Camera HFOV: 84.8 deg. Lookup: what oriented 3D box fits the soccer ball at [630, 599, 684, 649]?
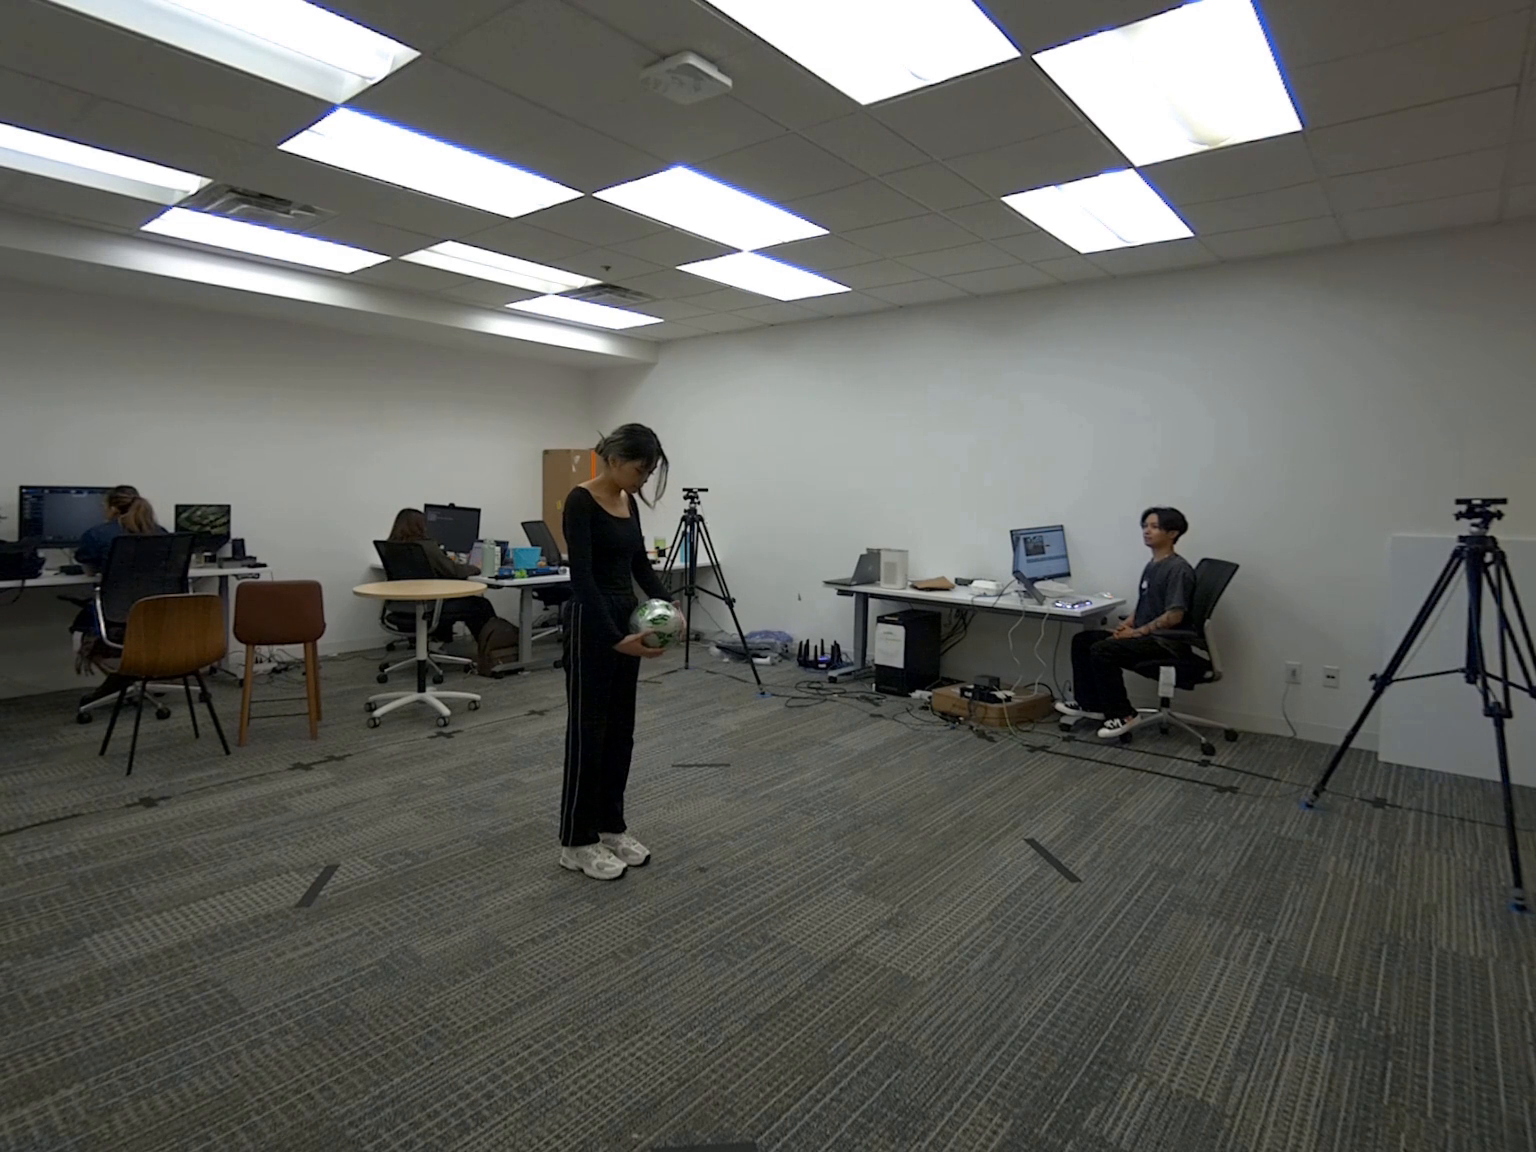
[{"bbox_3d":[-0.415,0.177,2.963,0.187,0.187,0.188,1,4,-2],"label":"soccer ball"}]
